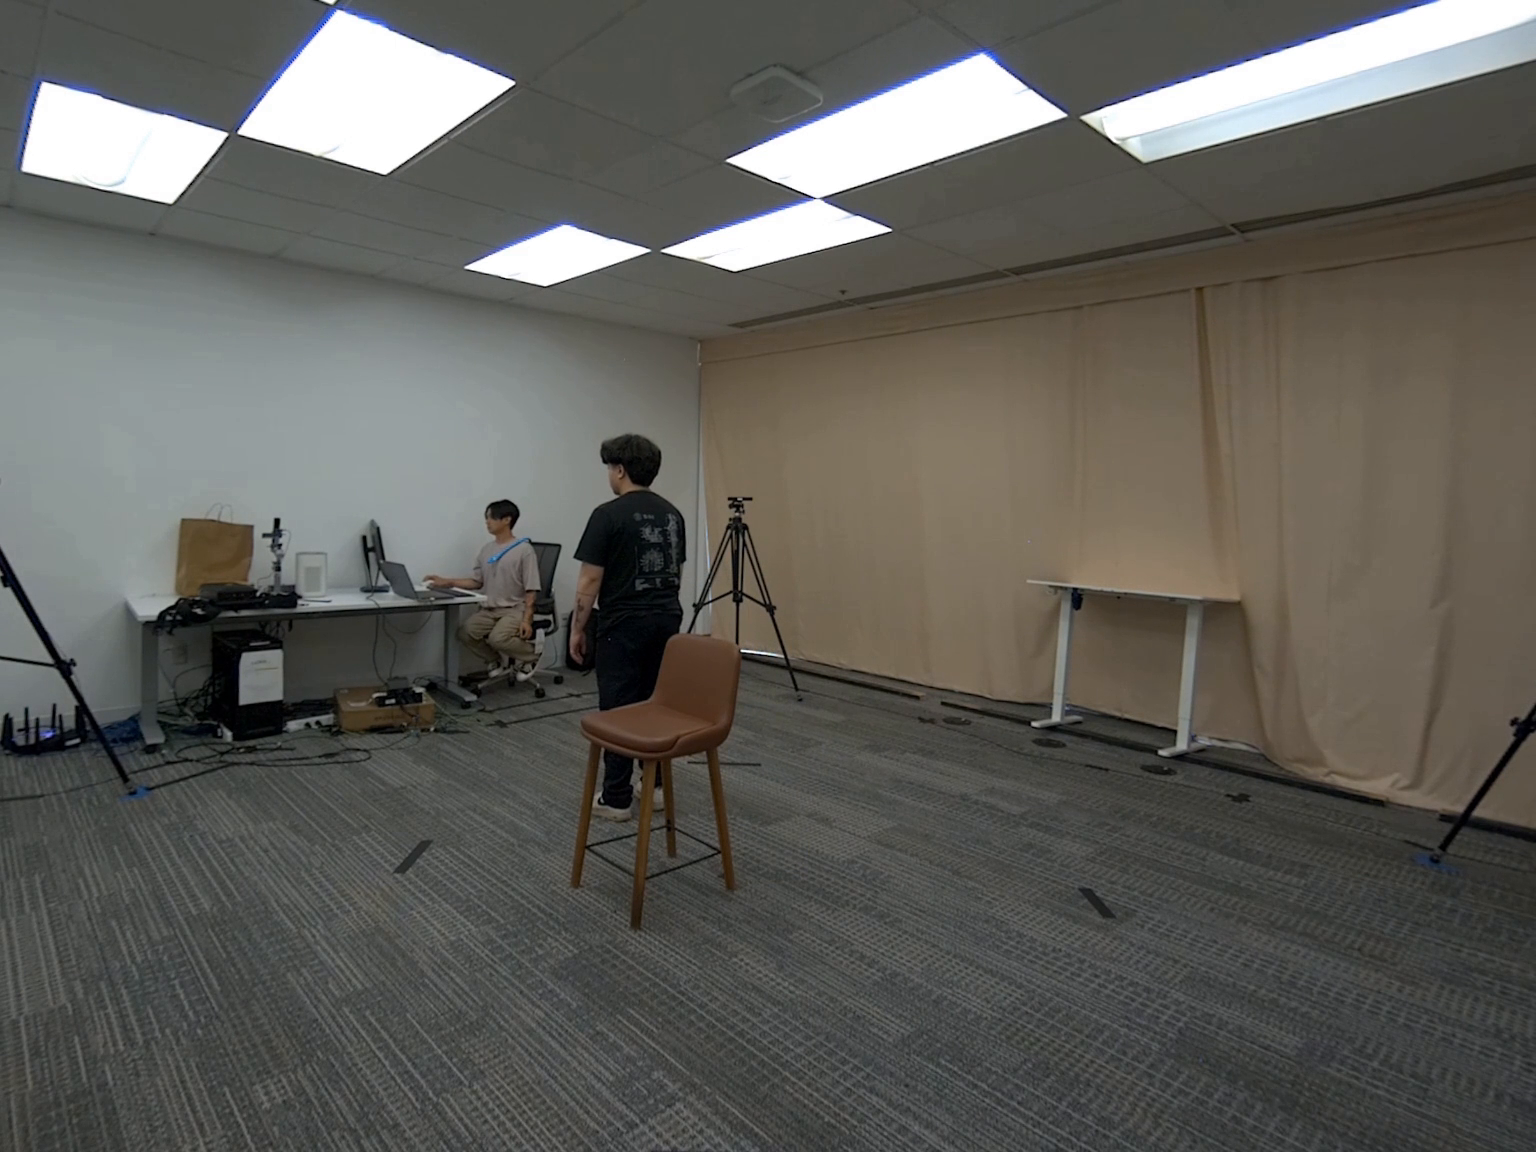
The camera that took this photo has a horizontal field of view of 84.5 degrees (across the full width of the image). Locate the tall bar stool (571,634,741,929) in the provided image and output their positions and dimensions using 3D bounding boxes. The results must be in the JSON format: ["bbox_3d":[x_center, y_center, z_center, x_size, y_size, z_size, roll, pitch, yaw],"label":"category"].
[{"bbox_3d":[-0.392,0.682,2.969,0.456,0.888,0.468,0,3,-43],"label":"tall bar stool"}]
